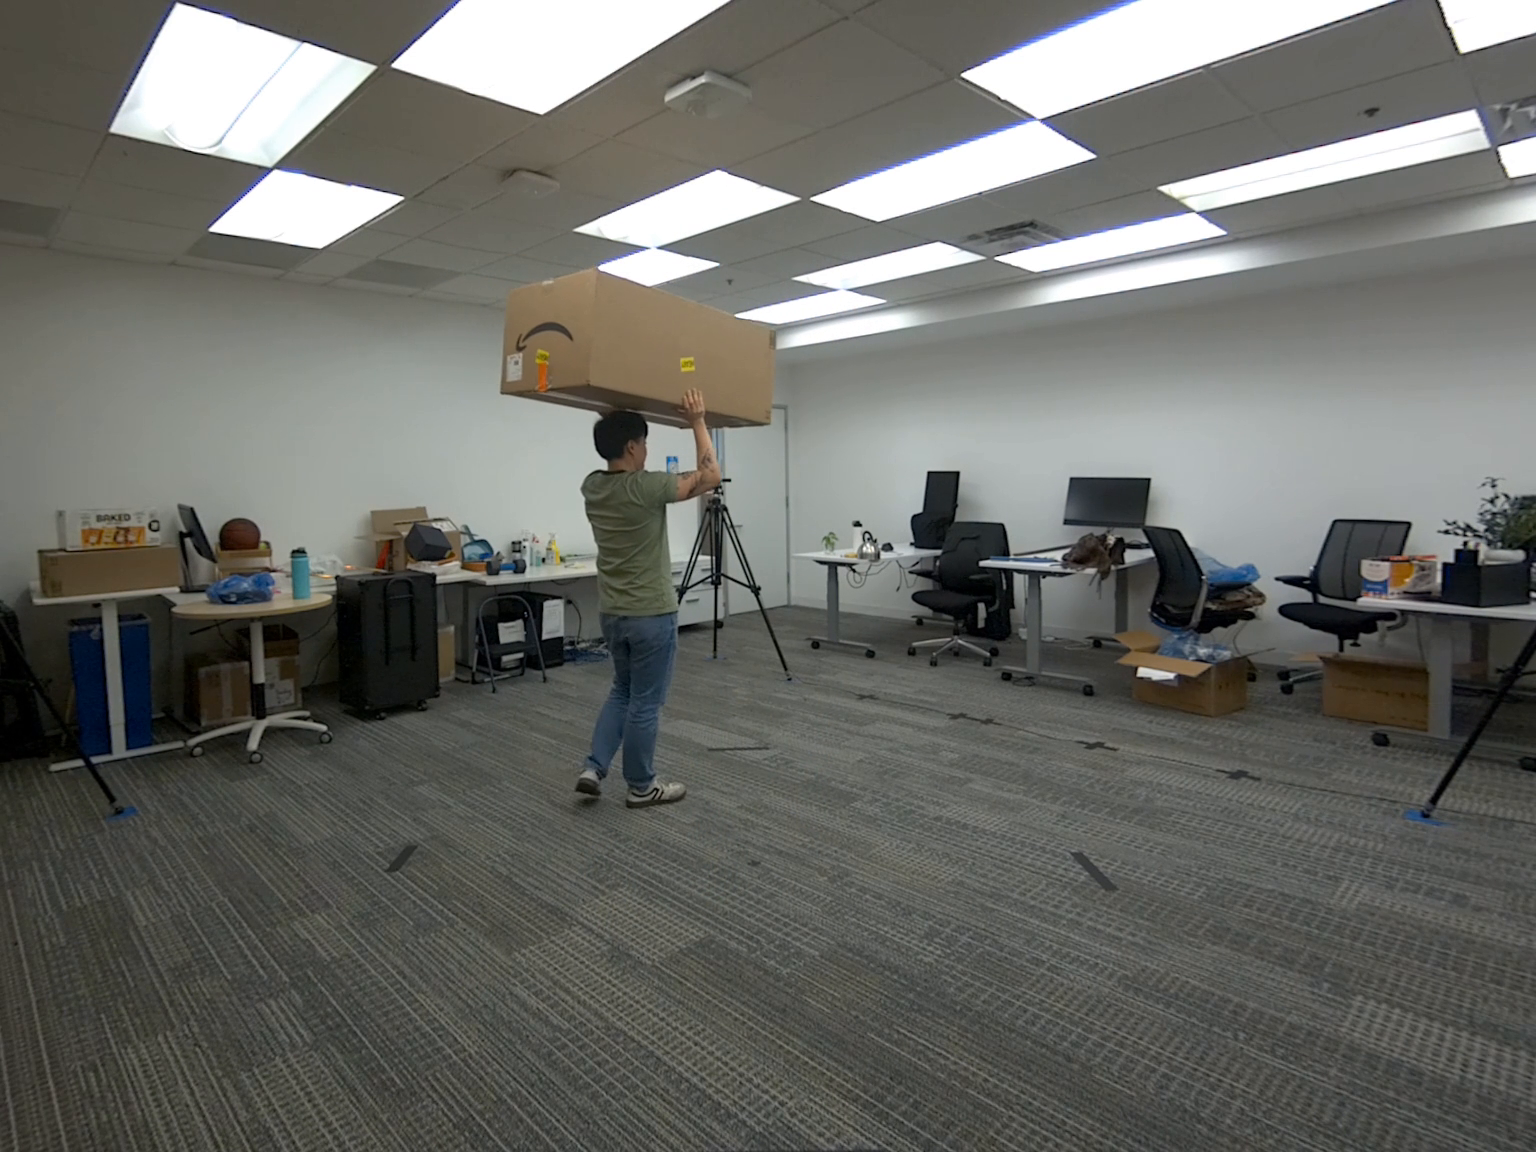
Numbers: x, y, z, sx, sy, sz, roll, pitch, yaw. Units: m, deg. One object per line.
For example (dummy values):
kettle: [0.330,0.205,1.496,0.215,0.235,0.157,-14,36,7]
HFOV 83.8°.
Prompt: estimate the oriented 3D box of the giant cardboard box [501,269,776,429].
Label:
giant cardboard box: [-0.514,-0.896,3.588,0.596,0.426,0.995,6,3,41]
